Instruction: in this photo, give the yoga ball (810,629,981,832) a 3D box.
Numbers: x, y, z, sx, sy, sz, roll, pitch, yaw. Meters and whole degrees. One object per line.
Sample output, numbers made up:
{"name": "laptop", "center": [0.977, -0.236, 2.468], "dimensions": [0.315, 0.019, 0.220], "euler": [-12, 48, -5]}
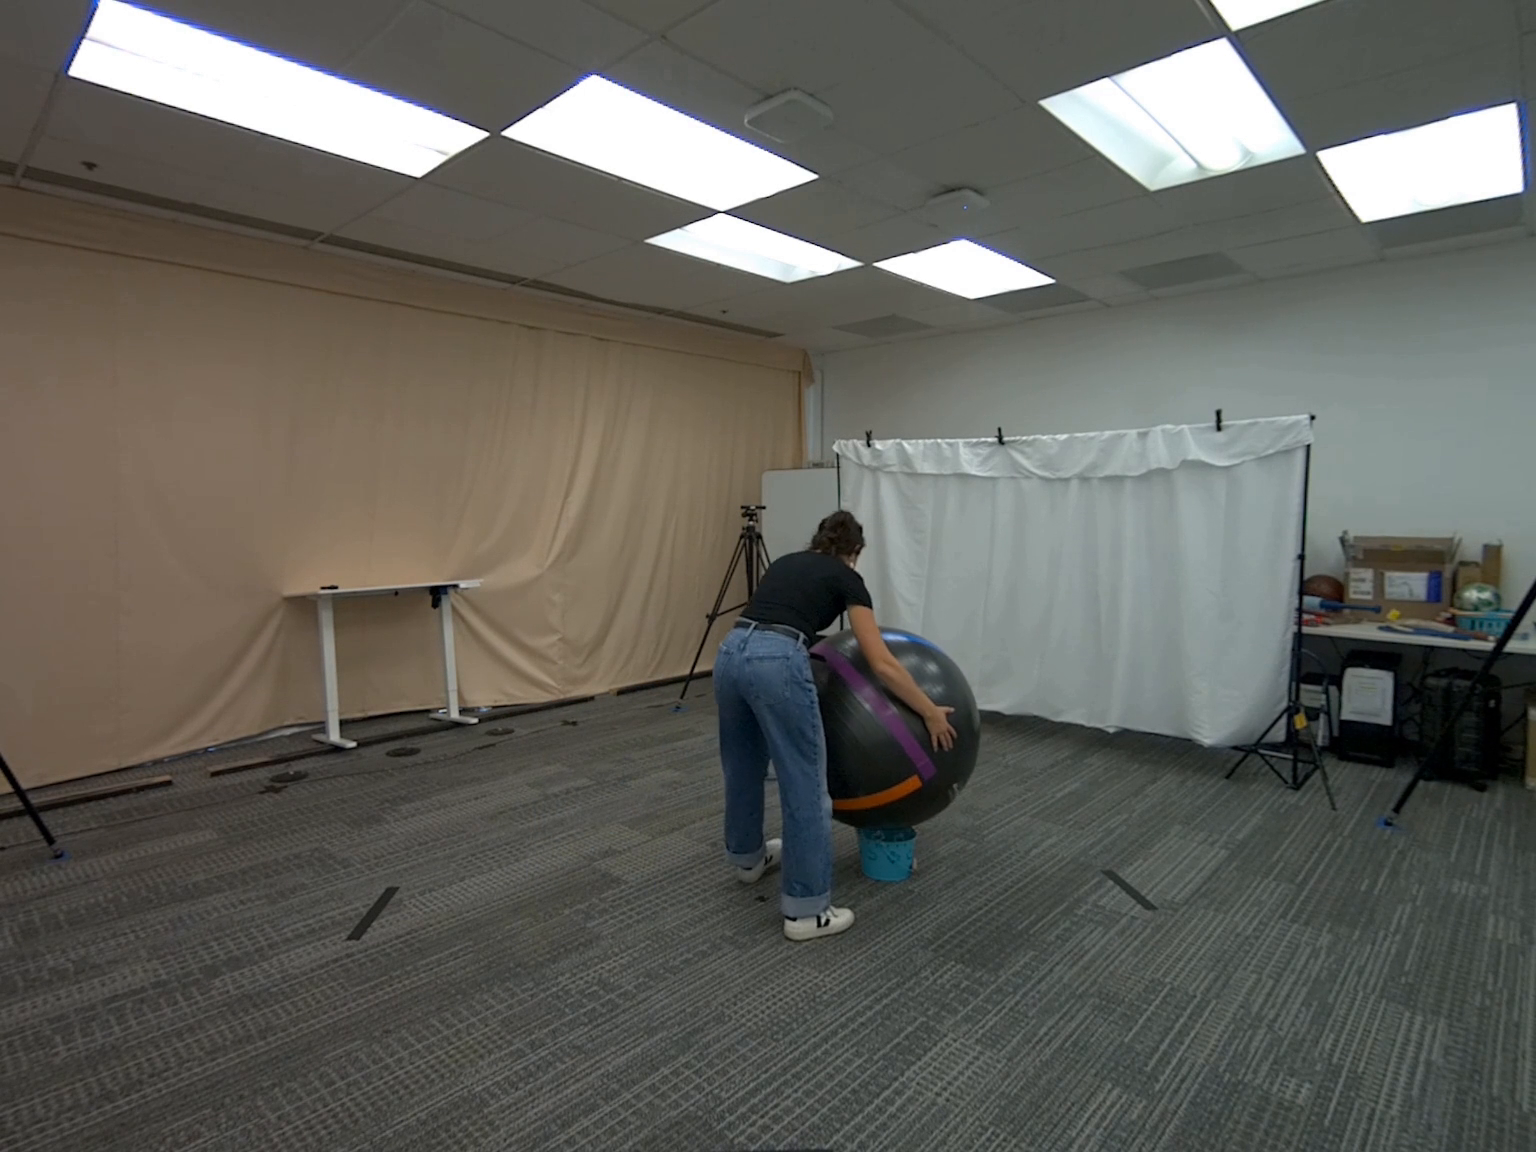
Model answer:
{"name": "yoga ball", "center": [0.416, 0.572, 3.216], "dimensions": [0.757, 0.756, 0.760], "euler": [0, 4, -2]}
